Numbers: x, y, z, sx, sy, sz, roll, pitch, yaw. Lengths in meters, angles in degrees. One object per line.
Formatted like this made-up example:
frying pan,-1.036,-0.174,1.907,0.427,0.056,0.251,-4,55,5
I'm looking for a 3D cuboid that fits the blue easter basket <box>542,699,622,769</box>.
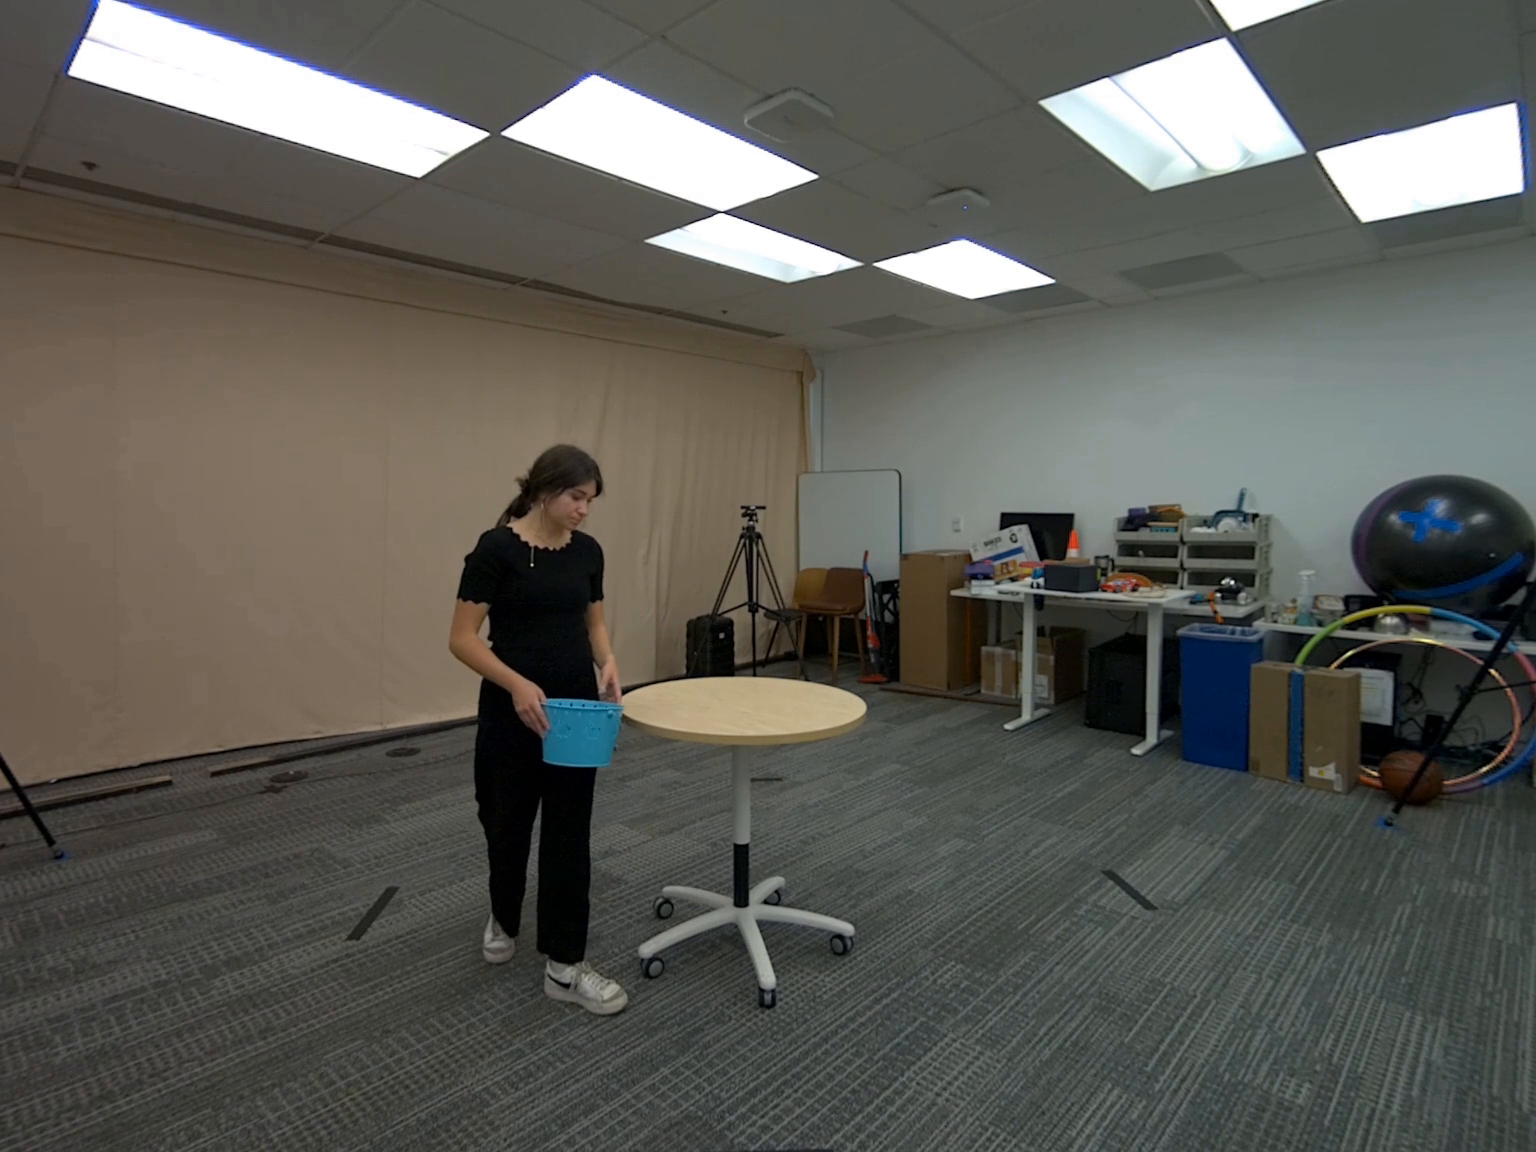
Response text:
blue easter basket,-0.511,0.410,2.244,0.243,0.156,0.244,1,-1,-2
